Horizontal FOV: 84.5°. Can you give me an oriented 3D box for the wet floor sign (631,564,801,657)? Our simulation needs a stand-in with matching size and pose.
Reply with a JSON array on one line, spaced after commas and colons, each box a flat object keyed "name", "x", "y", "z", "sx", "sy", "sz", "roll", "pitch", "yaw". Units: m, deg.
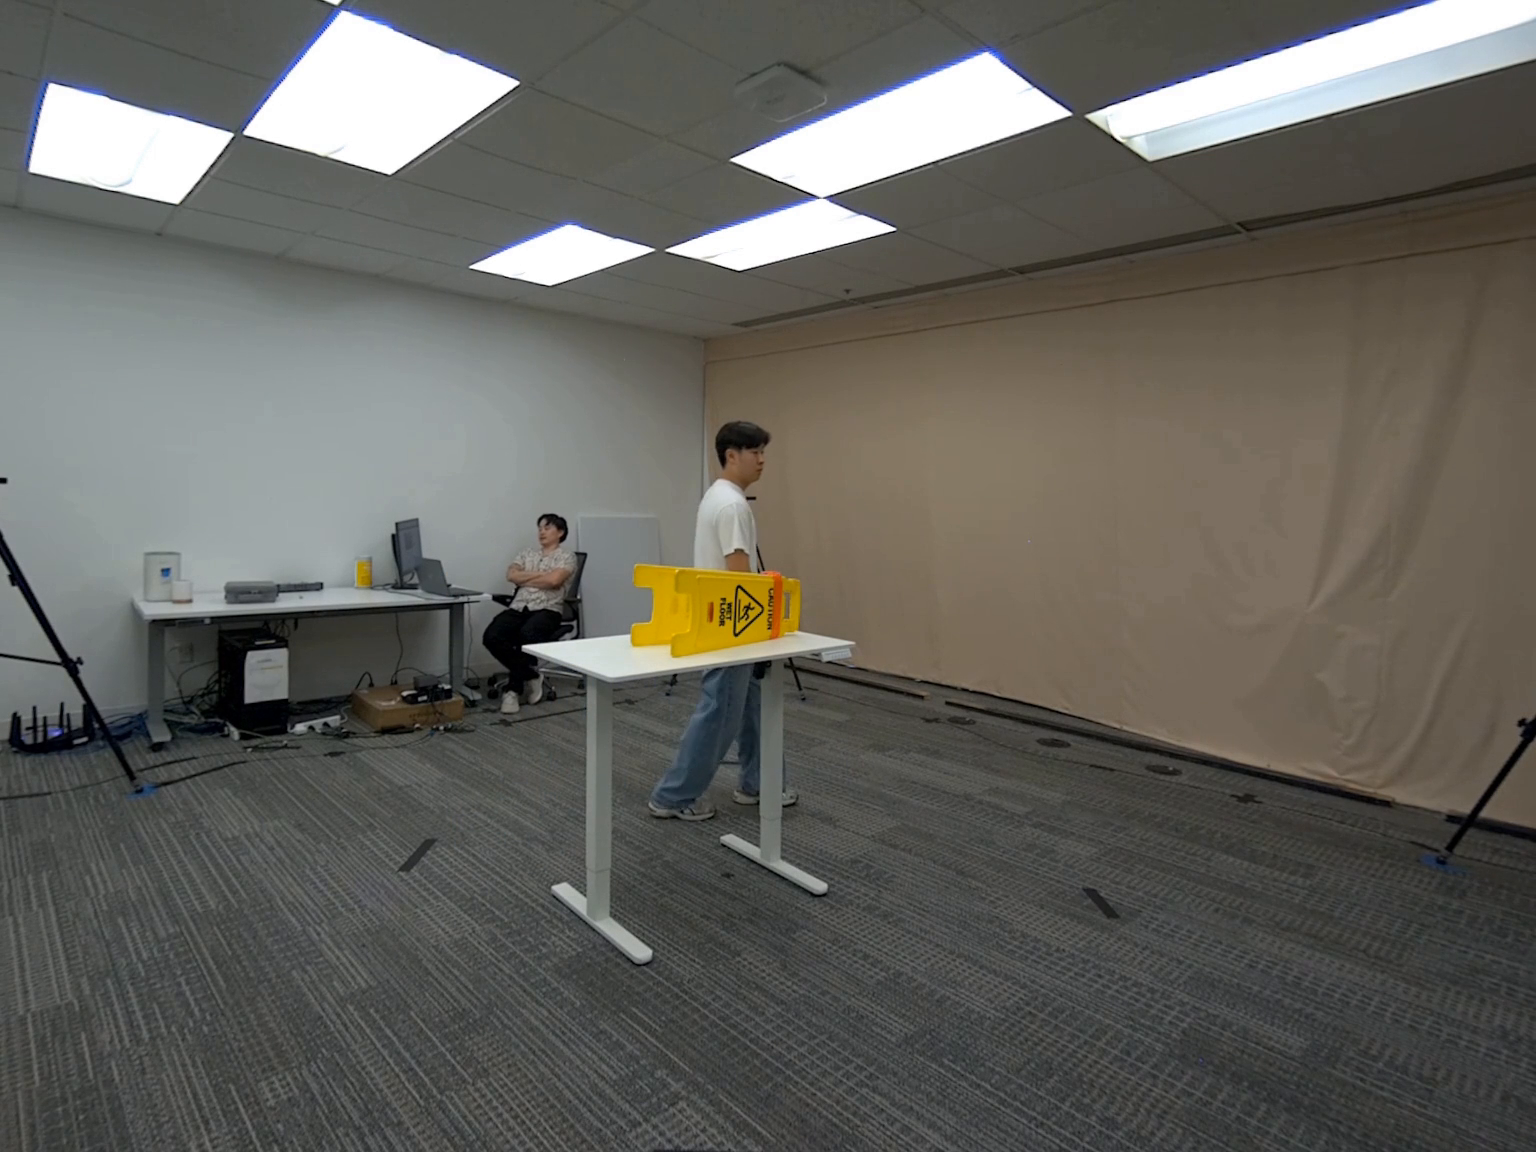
[{"name": "wet floor sign", "x": -0.148, "y": 0.112, "z": 2.958, "sx": 0.631, "sy": 0.282, "sz": 0.297, "roll": 0, "pitch": 3, "yaw": -40}]
